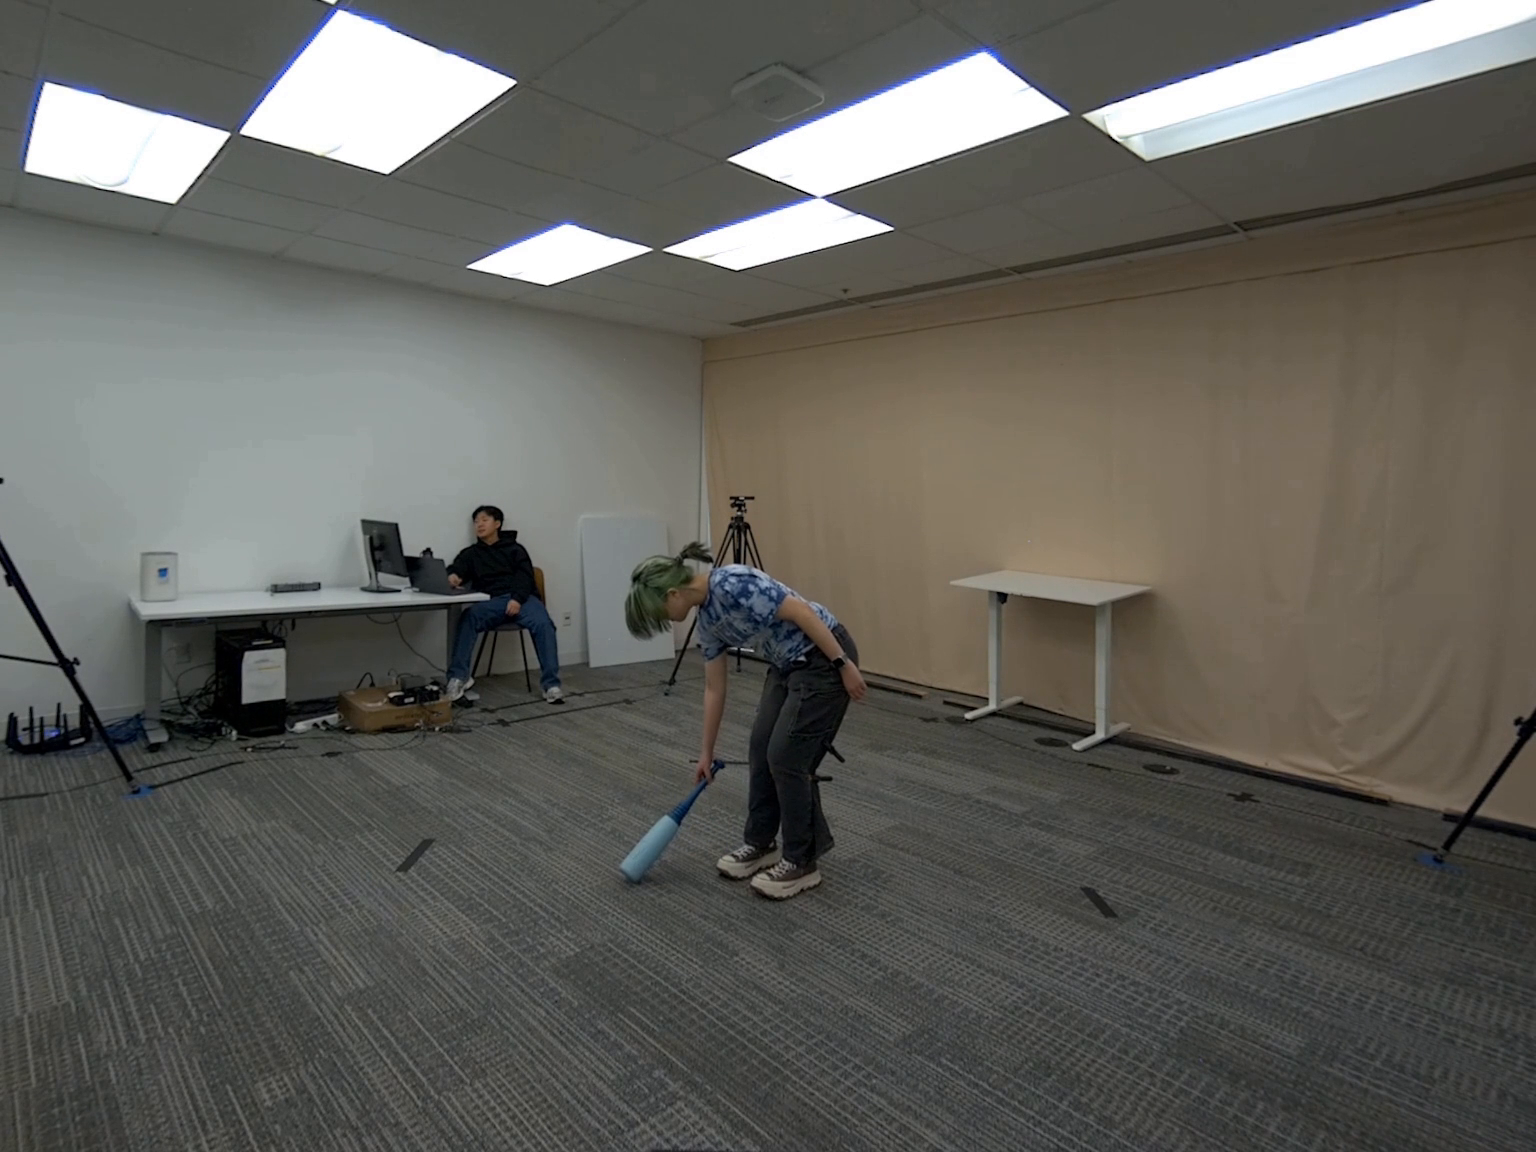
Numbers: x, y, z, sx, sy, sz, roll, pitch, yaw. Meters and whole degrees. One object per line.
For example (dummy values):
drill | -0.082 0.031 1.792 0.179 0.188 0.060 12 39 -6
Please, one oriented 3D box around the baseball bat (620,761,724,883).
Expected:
baseball bat | -0.344 0.895 3.129 0.542 0.087 0.091 -46 28 -25
